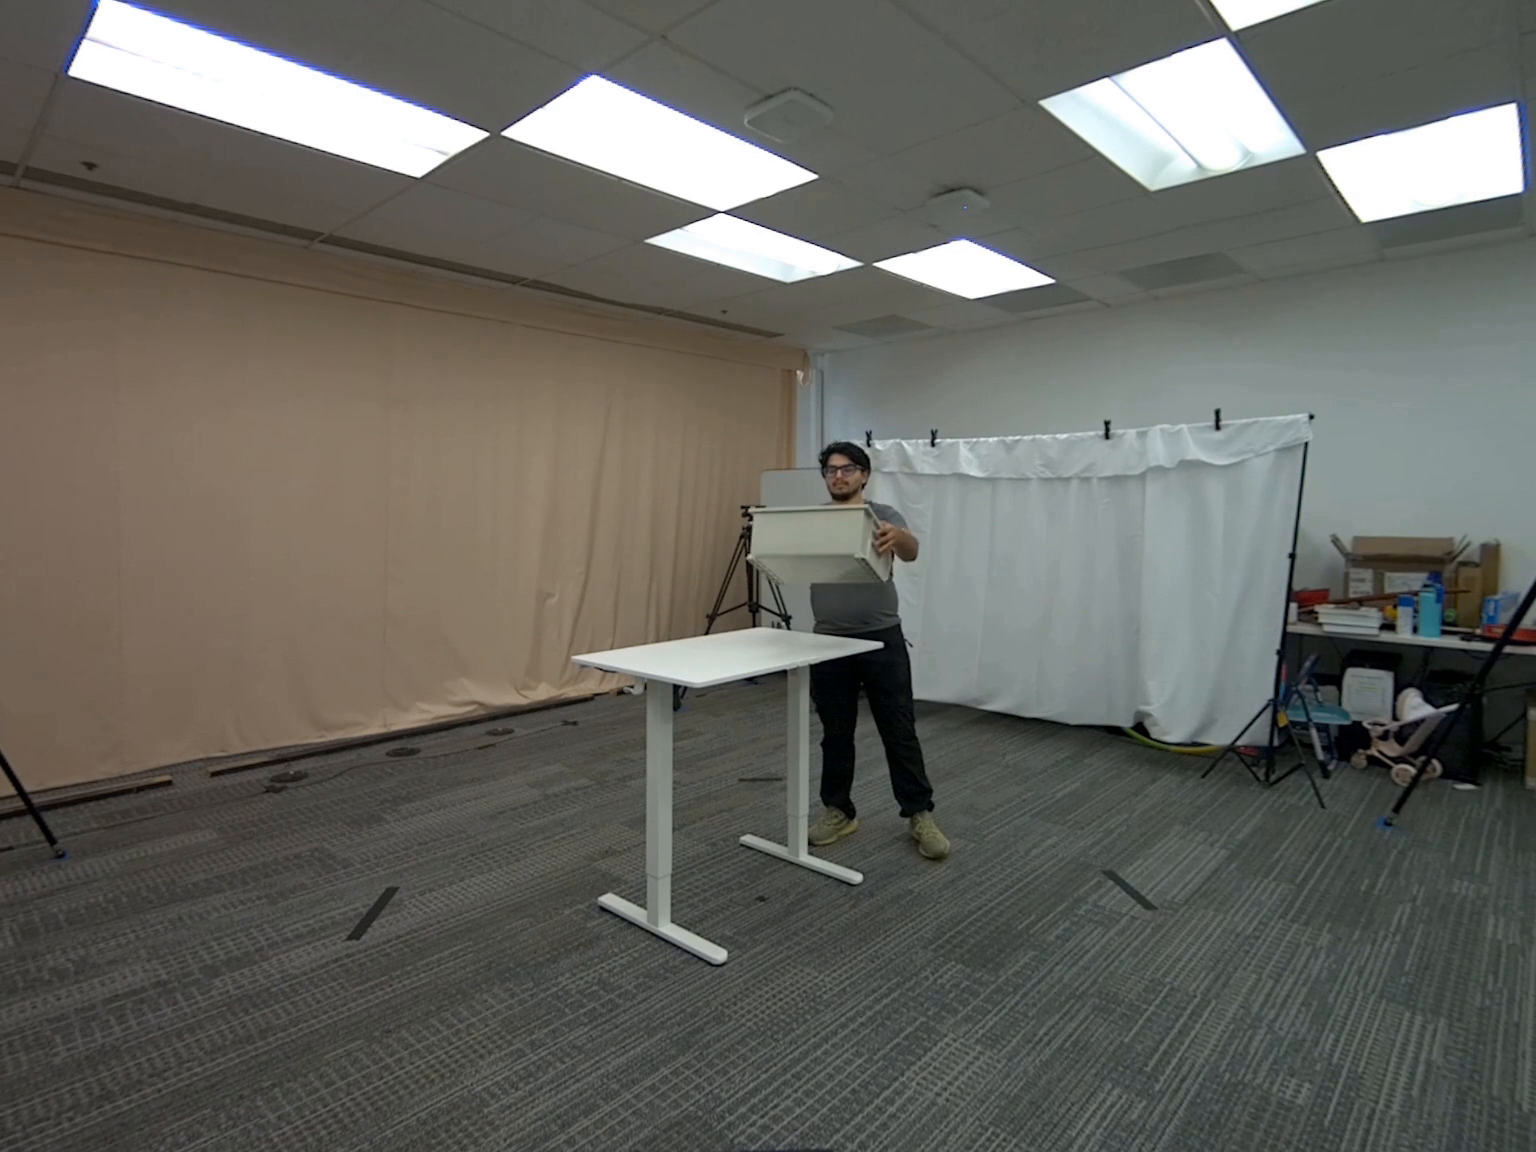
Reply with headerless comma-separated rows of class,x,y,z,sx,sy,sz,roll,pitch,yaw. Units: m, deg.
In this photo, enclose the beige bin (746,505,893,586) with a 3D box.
beige bin,0.197,-0.092,2.960,0.432,0.190,0.366,1,-15,23
